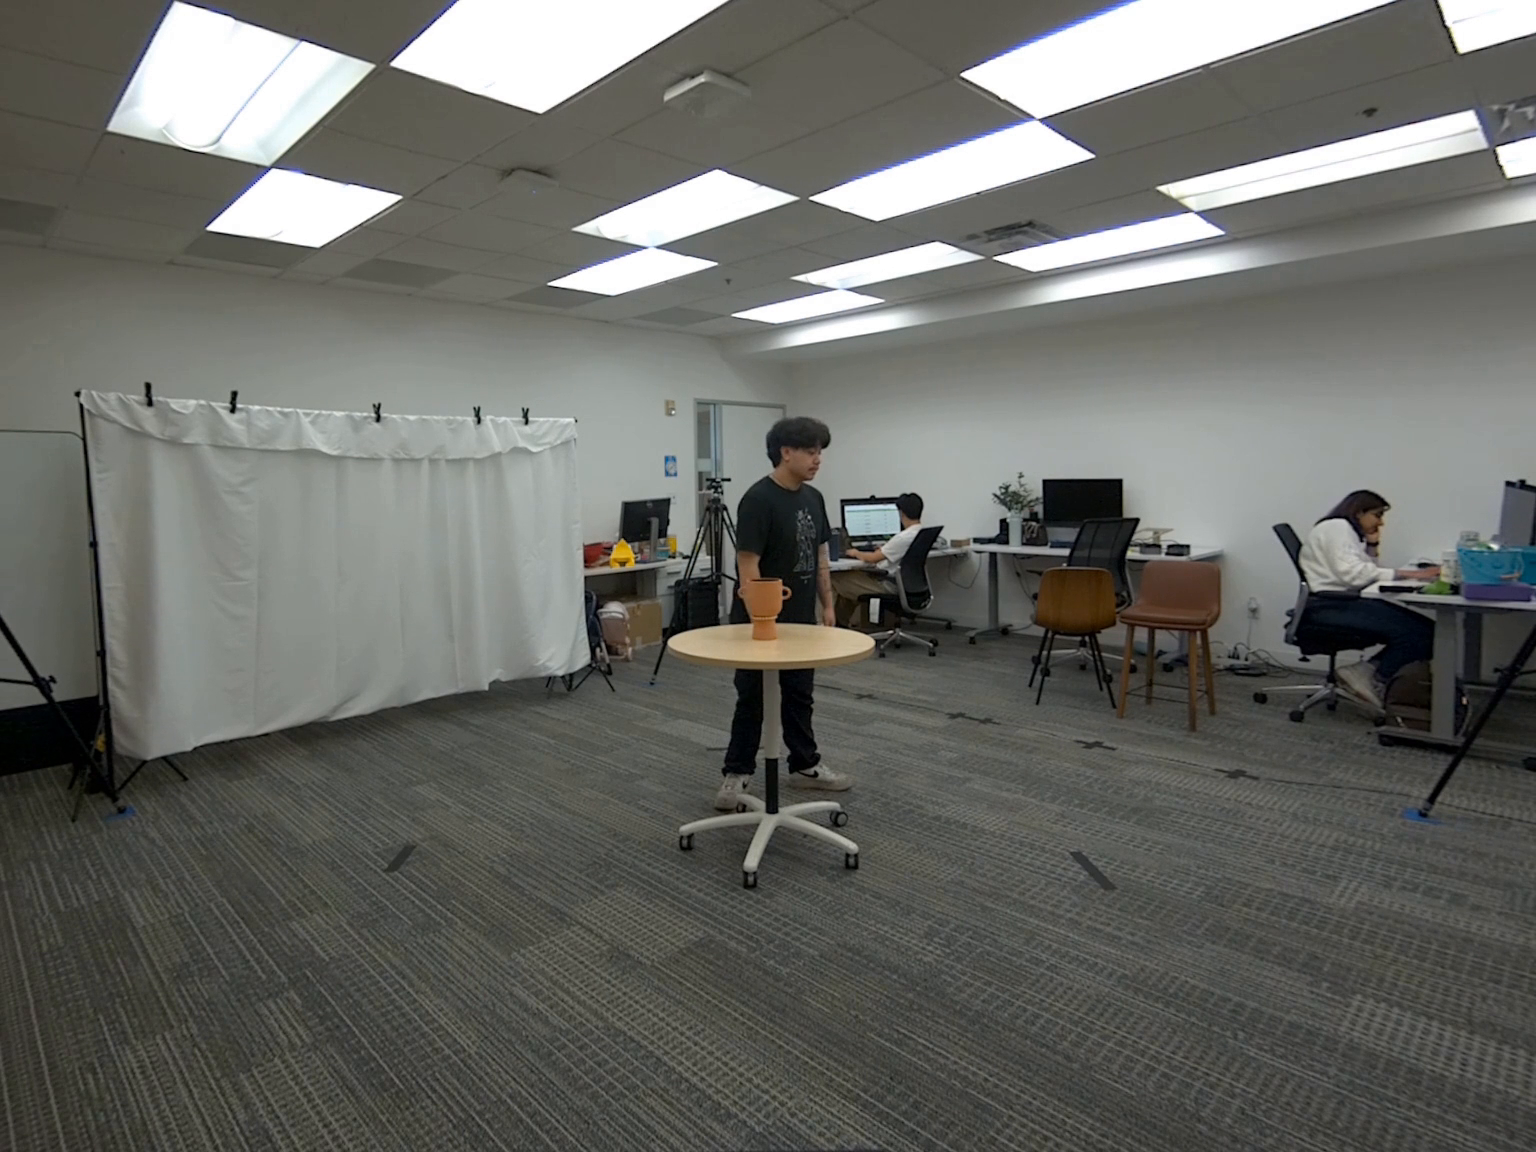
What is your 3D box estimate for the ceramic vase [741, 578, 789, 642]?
[{"bbox_3d":[-0.011,0.127,3.224,0.164,0.219,0.131,4,5,41],"label":"ceramic vase"}]
